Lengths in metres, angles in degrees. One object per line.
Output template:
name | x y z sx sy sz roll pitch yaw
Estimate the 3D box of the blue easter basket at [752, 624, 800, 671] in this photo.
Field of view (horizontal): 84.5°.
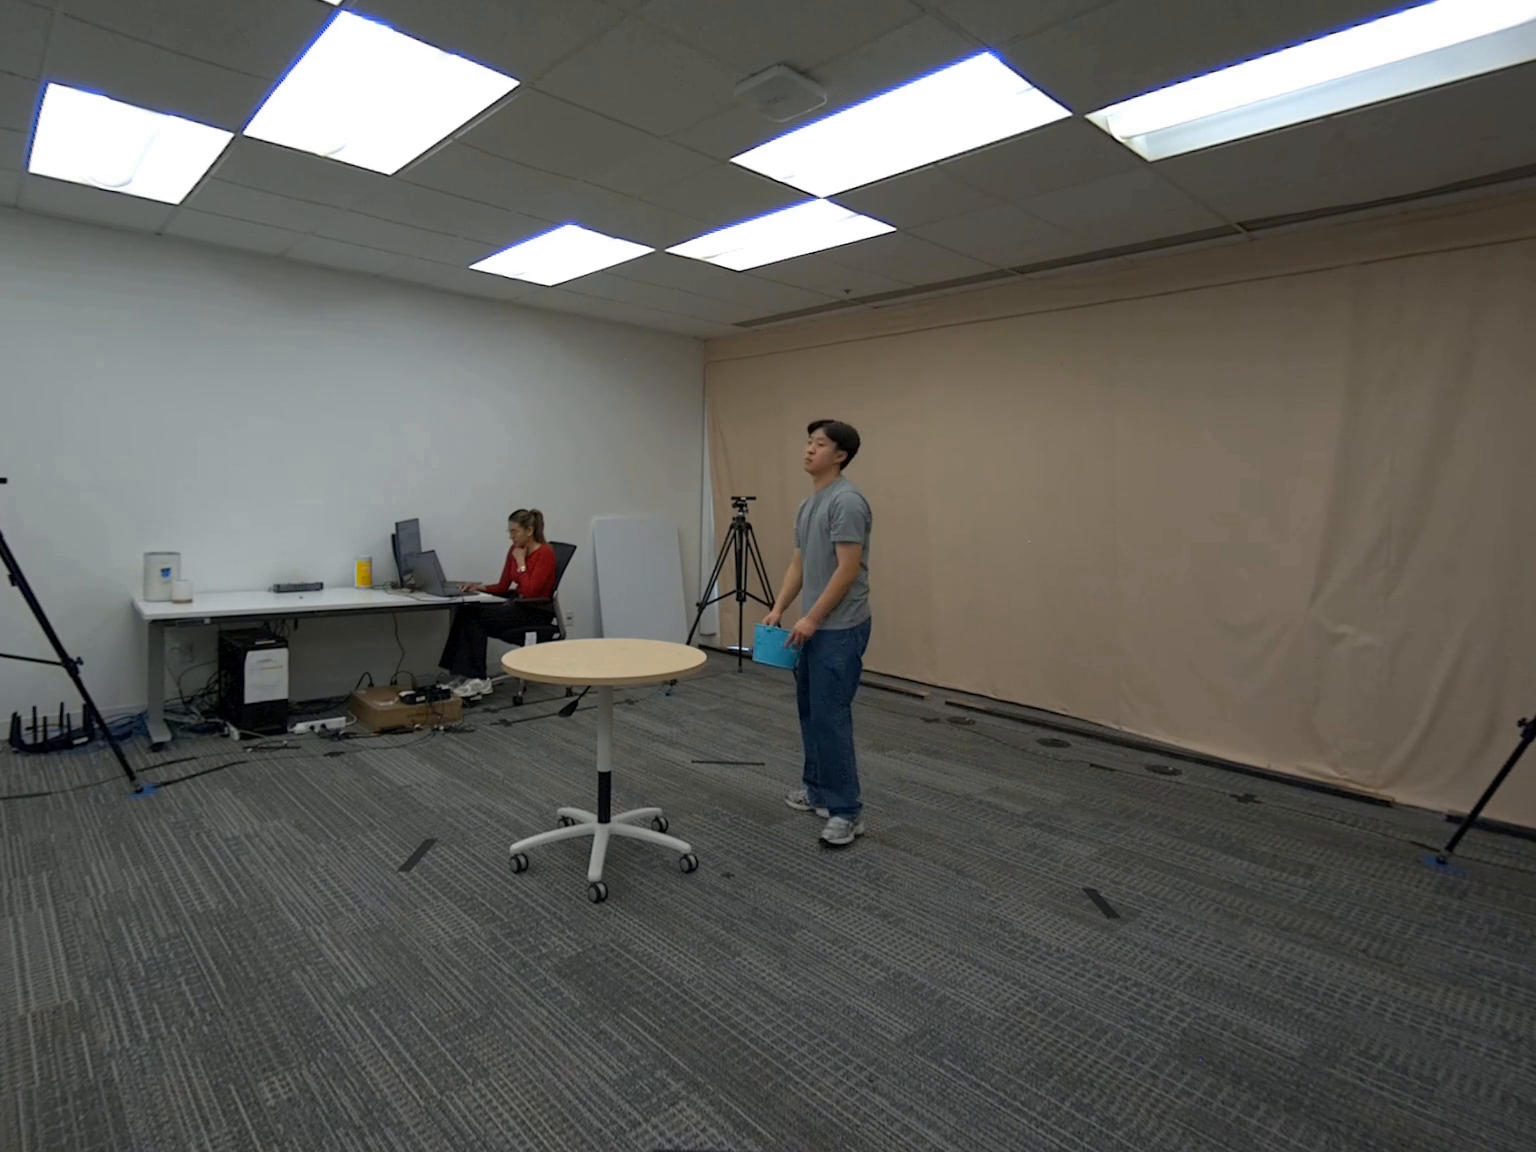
blue easter basket | 0.040 0.305 3.576 0.244 0.156 0.243 13 -5 0
